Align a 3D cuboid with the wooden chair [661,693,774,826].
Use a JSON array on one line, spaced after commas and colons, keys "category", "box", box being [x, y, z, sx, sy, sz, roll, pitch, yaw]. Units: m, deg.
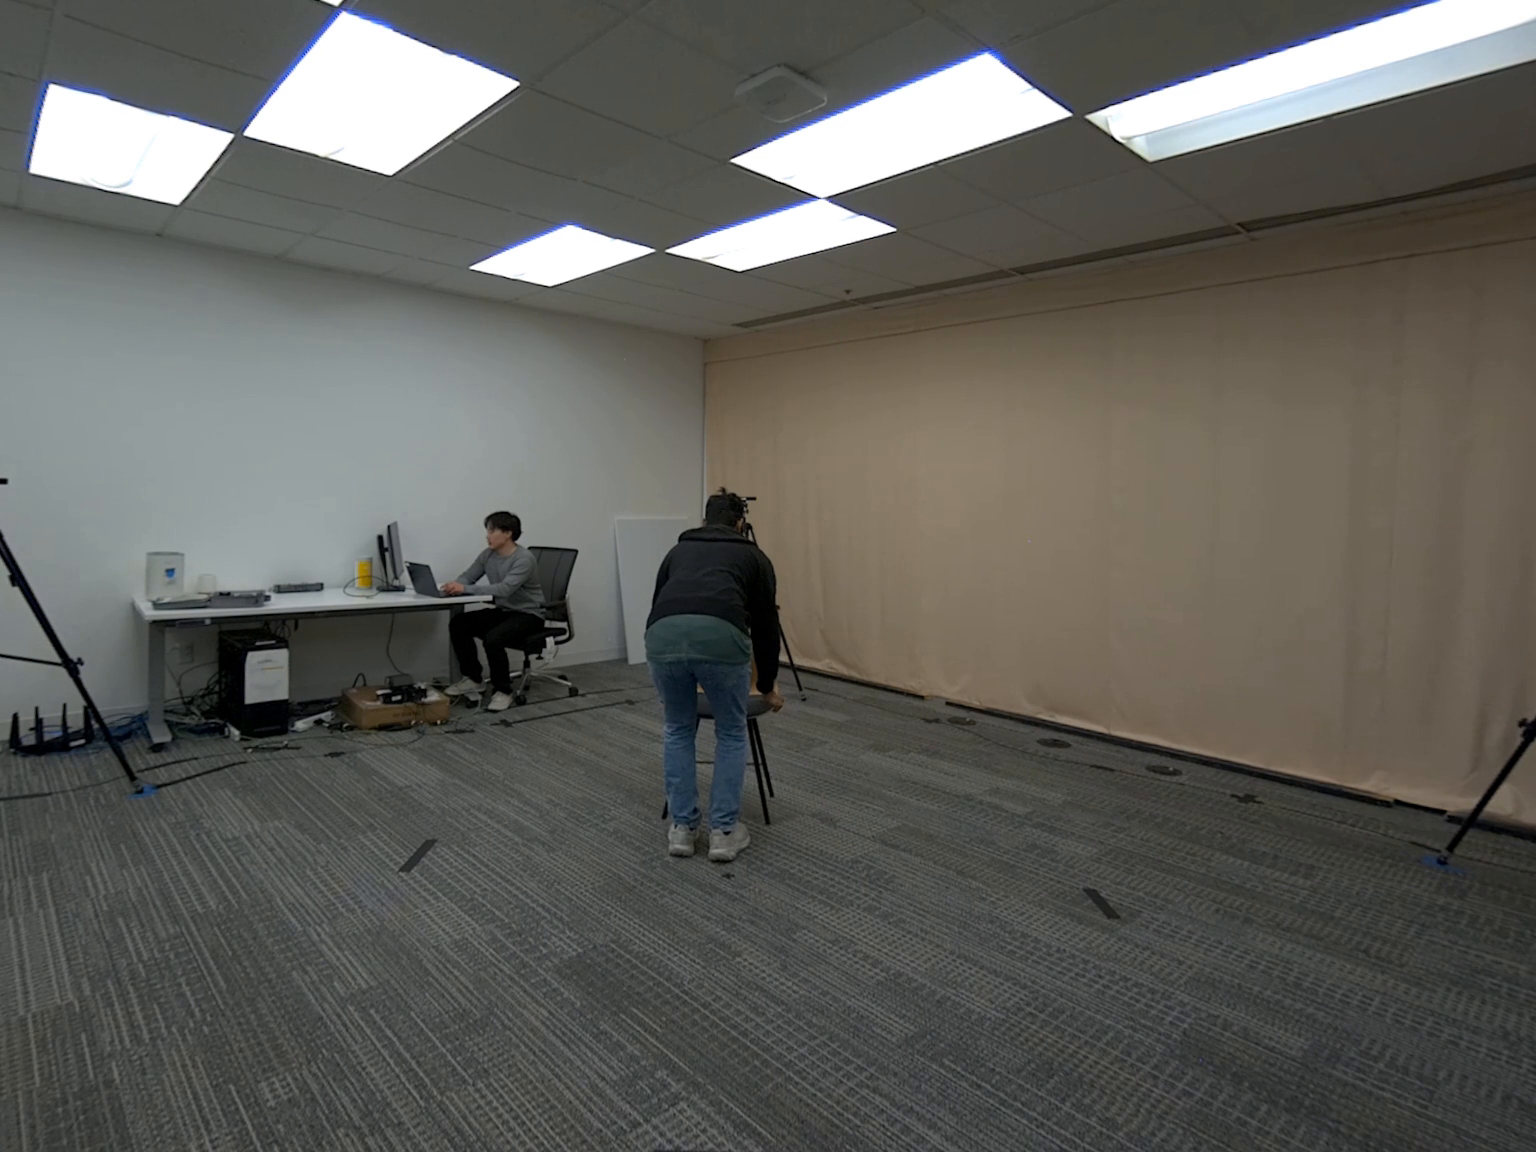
[{"category": "wooden chair", "box": [-0.195, 0.582, 3.701, 0.480, 0.881, 0.519, 2, -5, 5]}]
